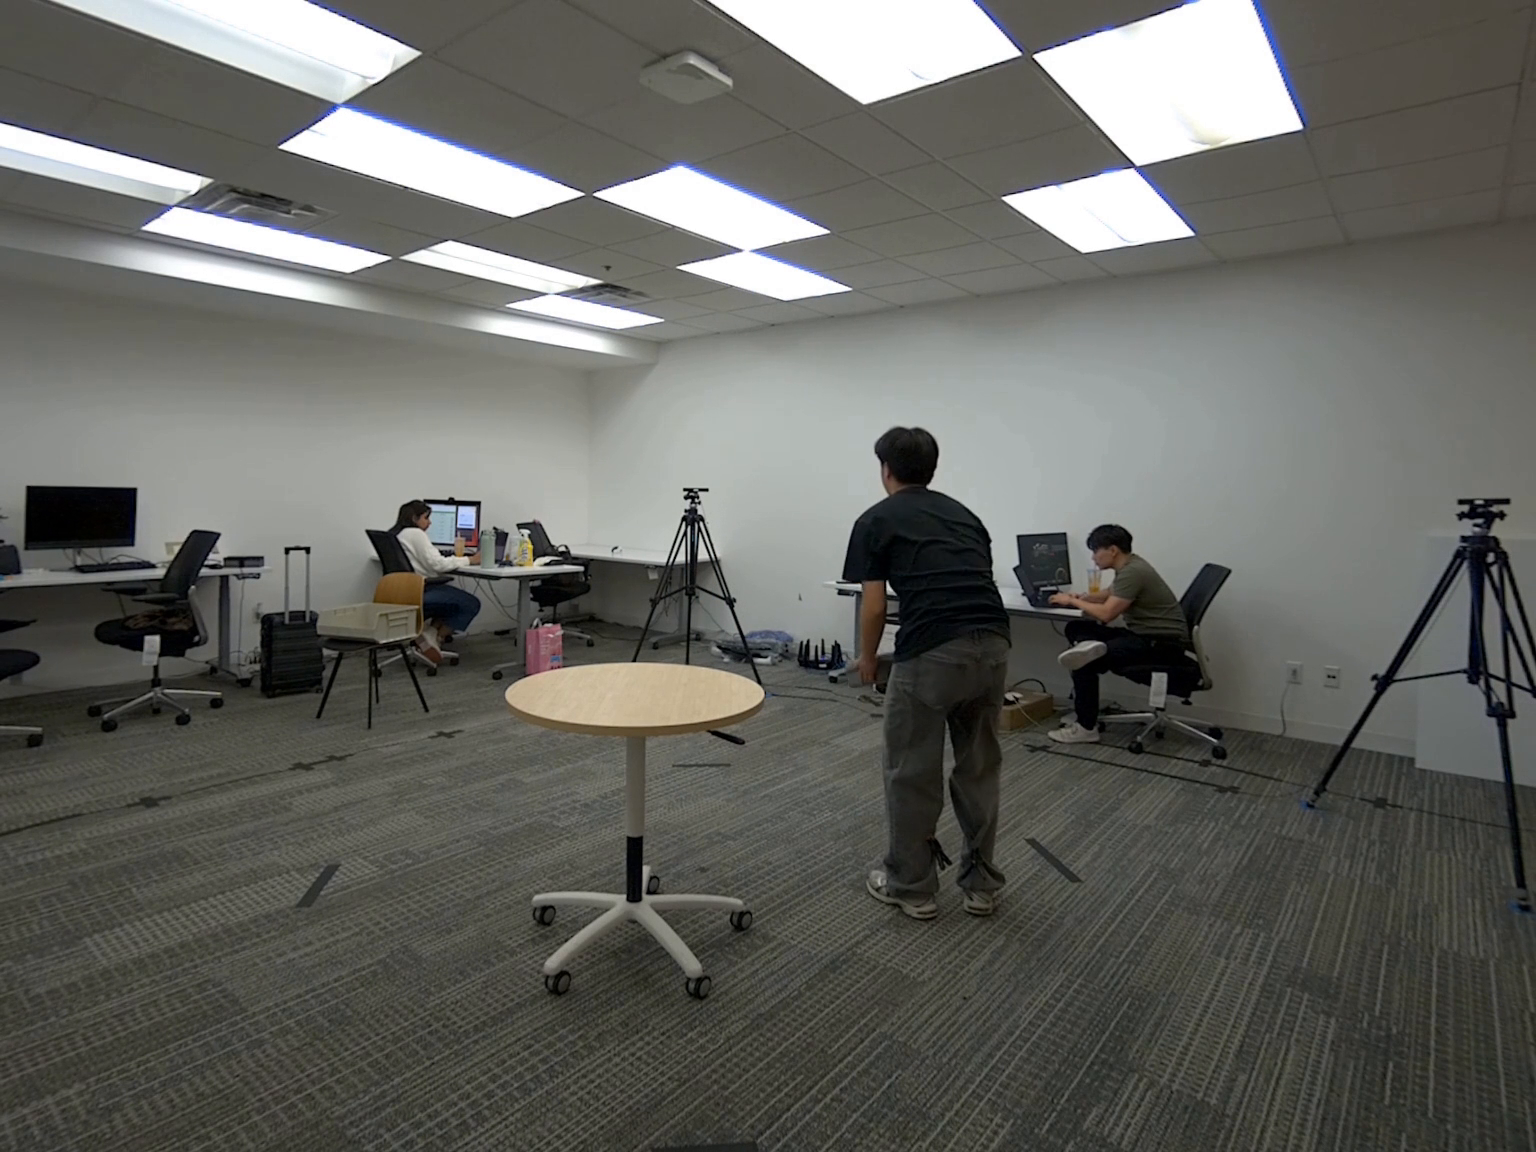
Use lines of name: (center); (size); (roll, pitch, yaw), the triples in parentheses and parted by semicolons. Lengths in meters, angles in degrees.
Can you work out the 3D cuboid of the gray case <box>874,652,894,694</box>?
gray case: (0.451, 0.345, 3.200); (0.258, 0.104, 0.289); (-7, -10, -22)
